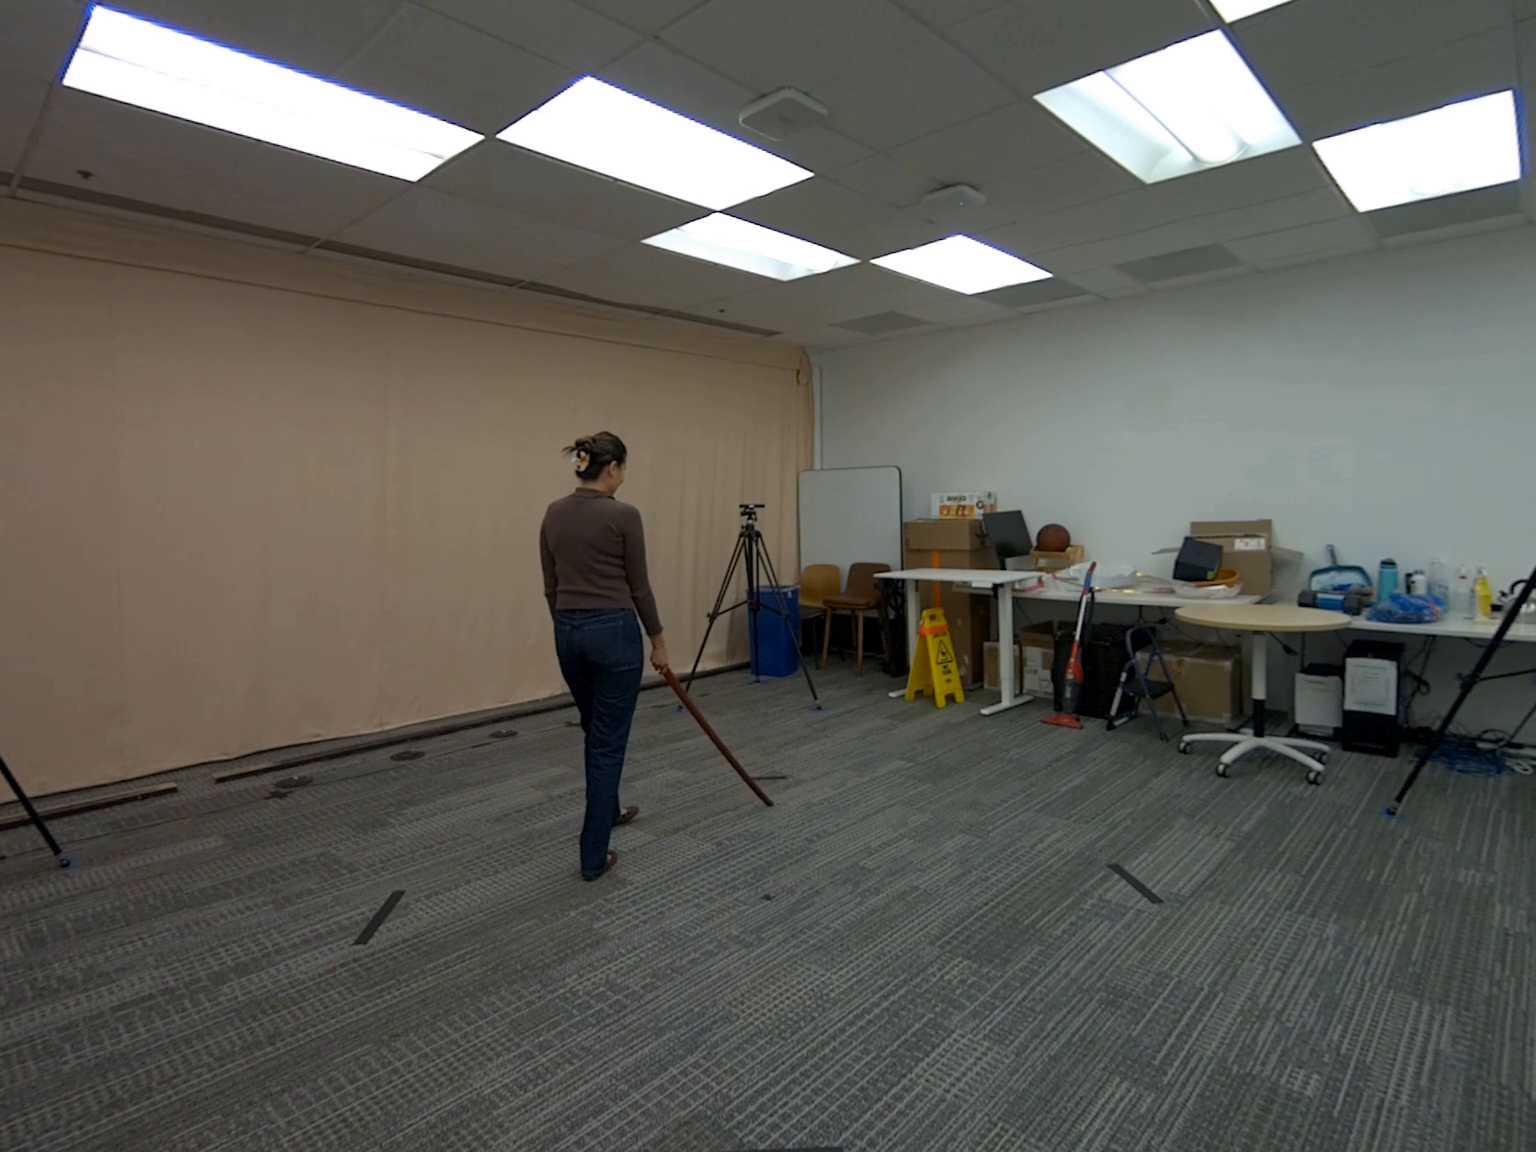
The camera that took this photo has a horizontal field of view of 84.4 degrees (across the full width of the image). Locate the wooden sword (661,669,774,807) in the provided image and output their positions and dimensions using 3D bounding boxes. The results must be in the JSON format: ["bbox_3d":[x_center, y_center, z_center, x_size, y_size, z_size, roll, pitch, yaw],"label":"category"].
[{"bbox_3d":[-0.233,0.706,3.676,0.052,0.997,0.024,-17,32,30],"label":"wooden sword"}]
